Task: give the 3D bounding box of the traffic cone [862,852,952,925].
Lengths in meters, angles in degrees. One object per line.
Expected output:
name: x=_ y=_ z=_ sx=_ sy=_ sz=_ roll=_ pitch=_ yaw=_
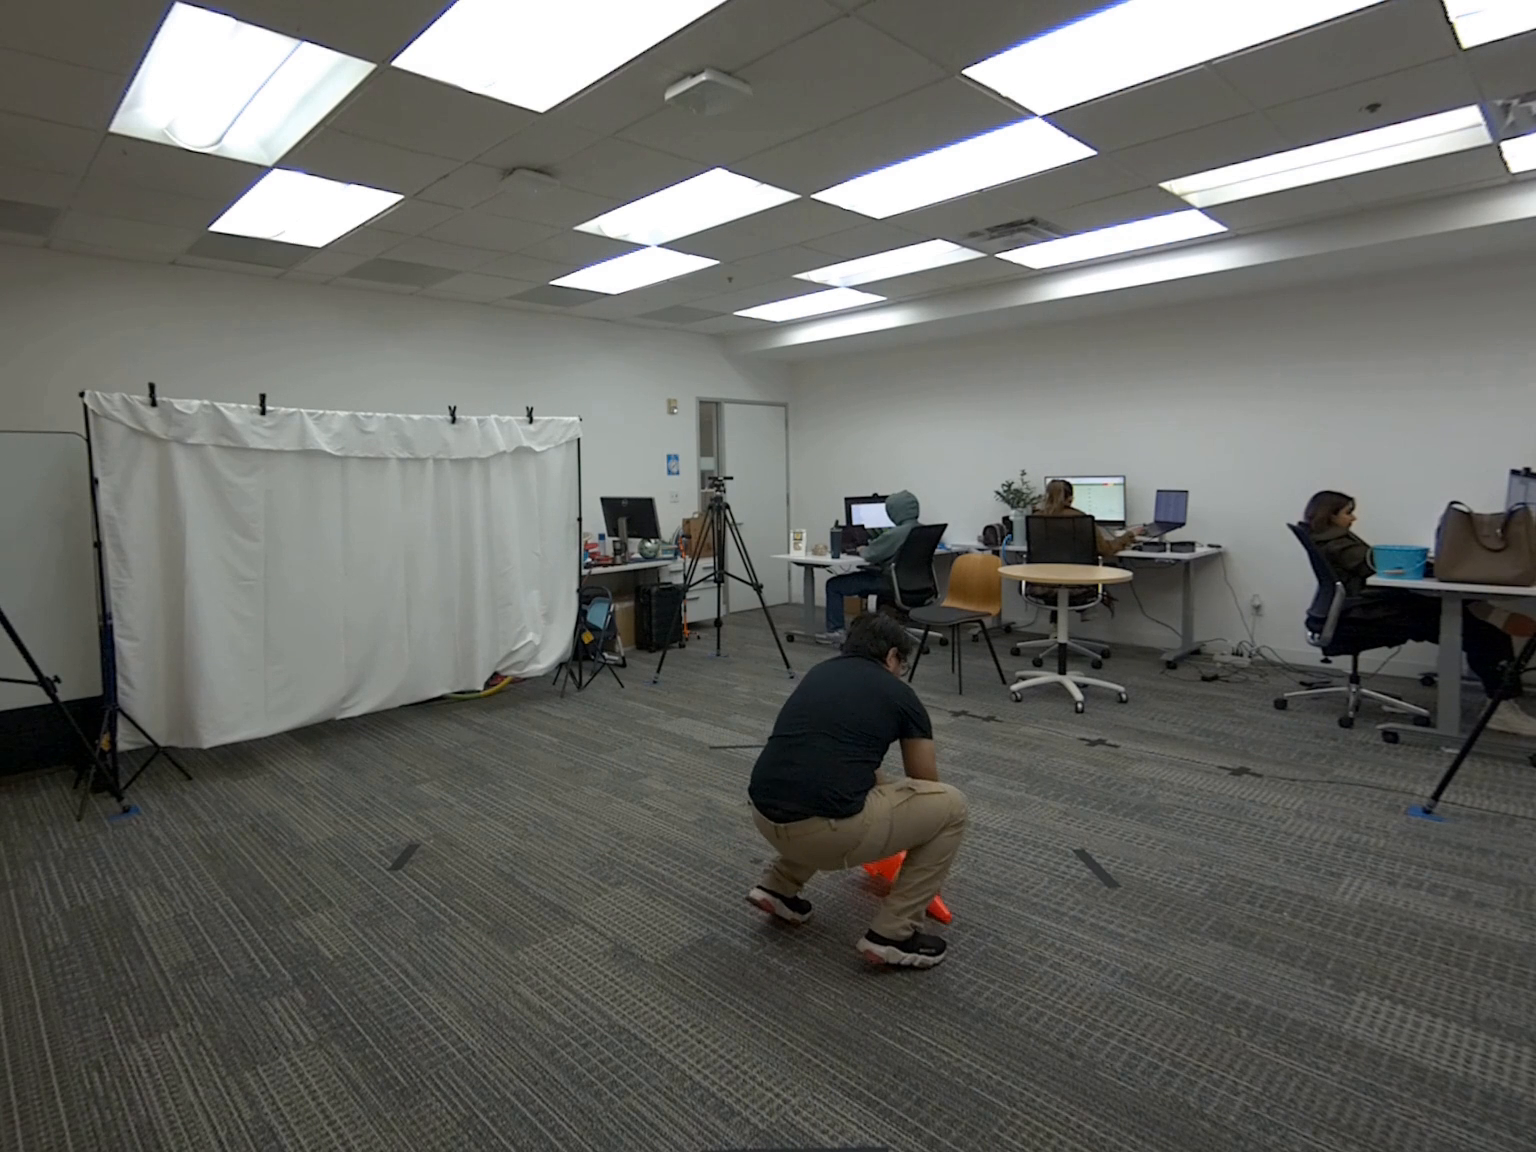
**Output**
traffic cone: x=0.472 y=1.001 z=2.810 sx=0.204 sy=0.196 sz=0.398 roll=-37 pitch=34 yaw=-10
